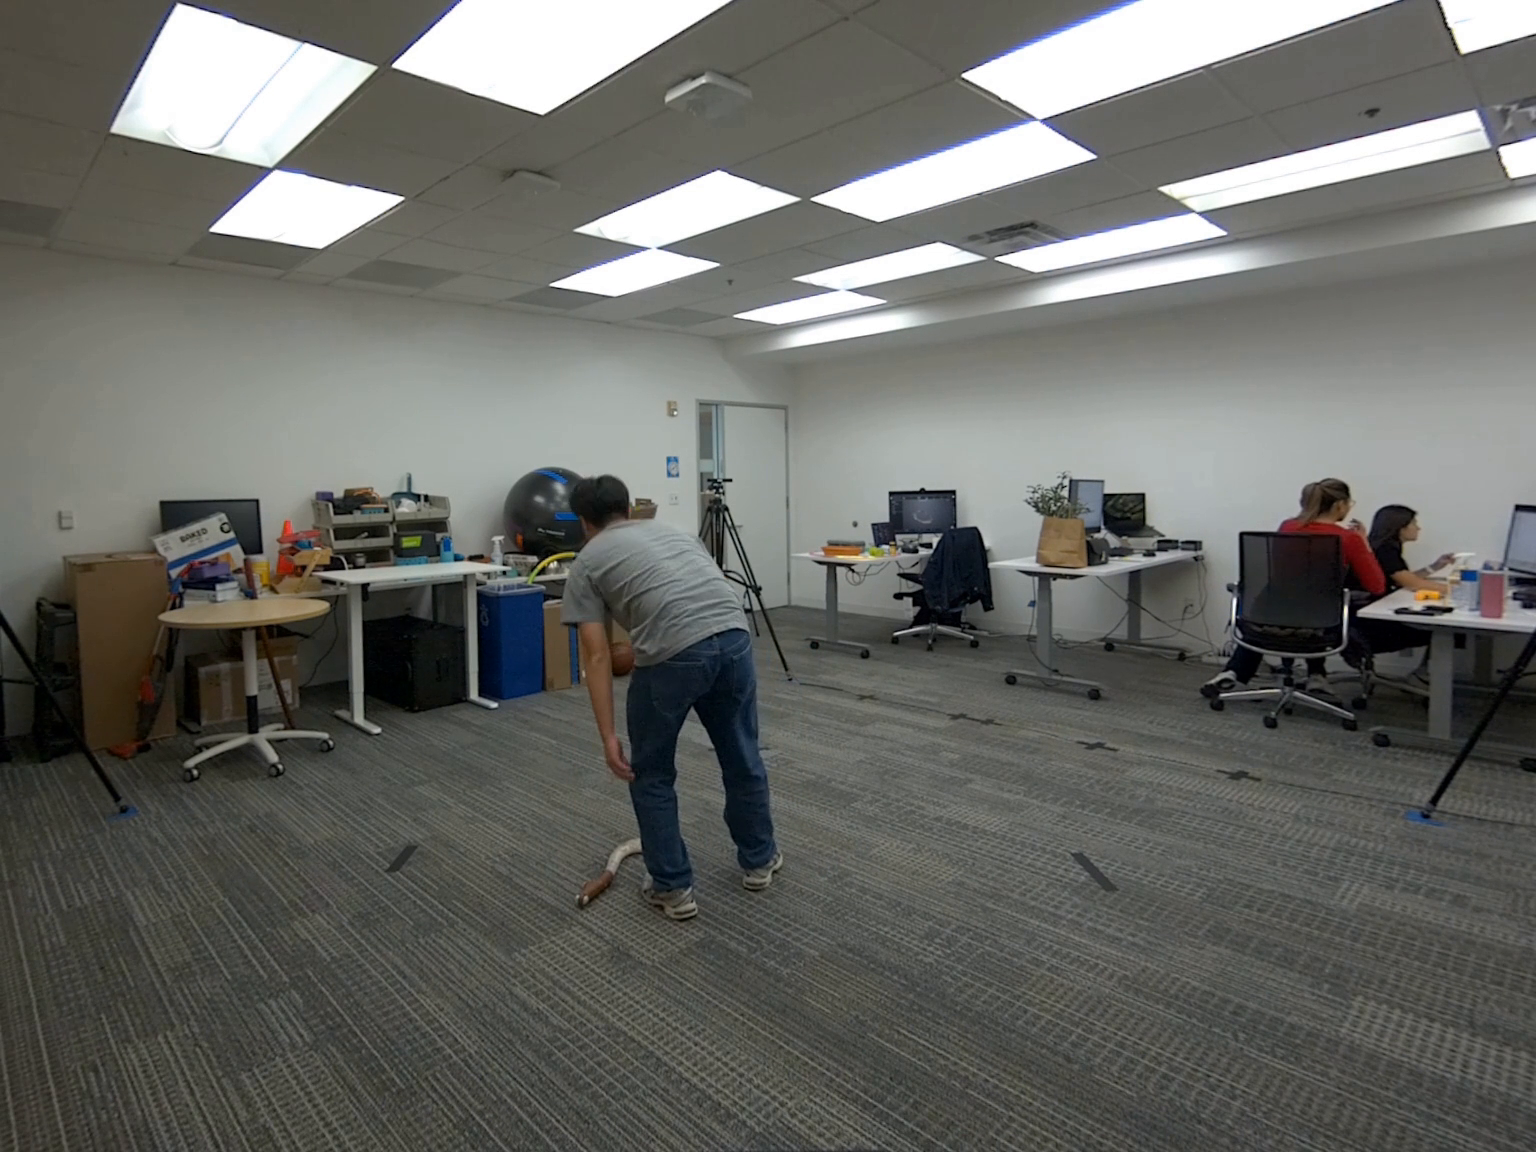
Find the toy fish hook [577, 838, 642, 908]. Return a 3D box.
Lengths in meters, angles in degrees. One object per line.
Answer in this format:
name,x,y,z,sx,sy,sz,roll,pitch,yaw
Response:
toy fish hook,-0.492,1.039,3.007,0.228,0.048,0.501,0,7,16
